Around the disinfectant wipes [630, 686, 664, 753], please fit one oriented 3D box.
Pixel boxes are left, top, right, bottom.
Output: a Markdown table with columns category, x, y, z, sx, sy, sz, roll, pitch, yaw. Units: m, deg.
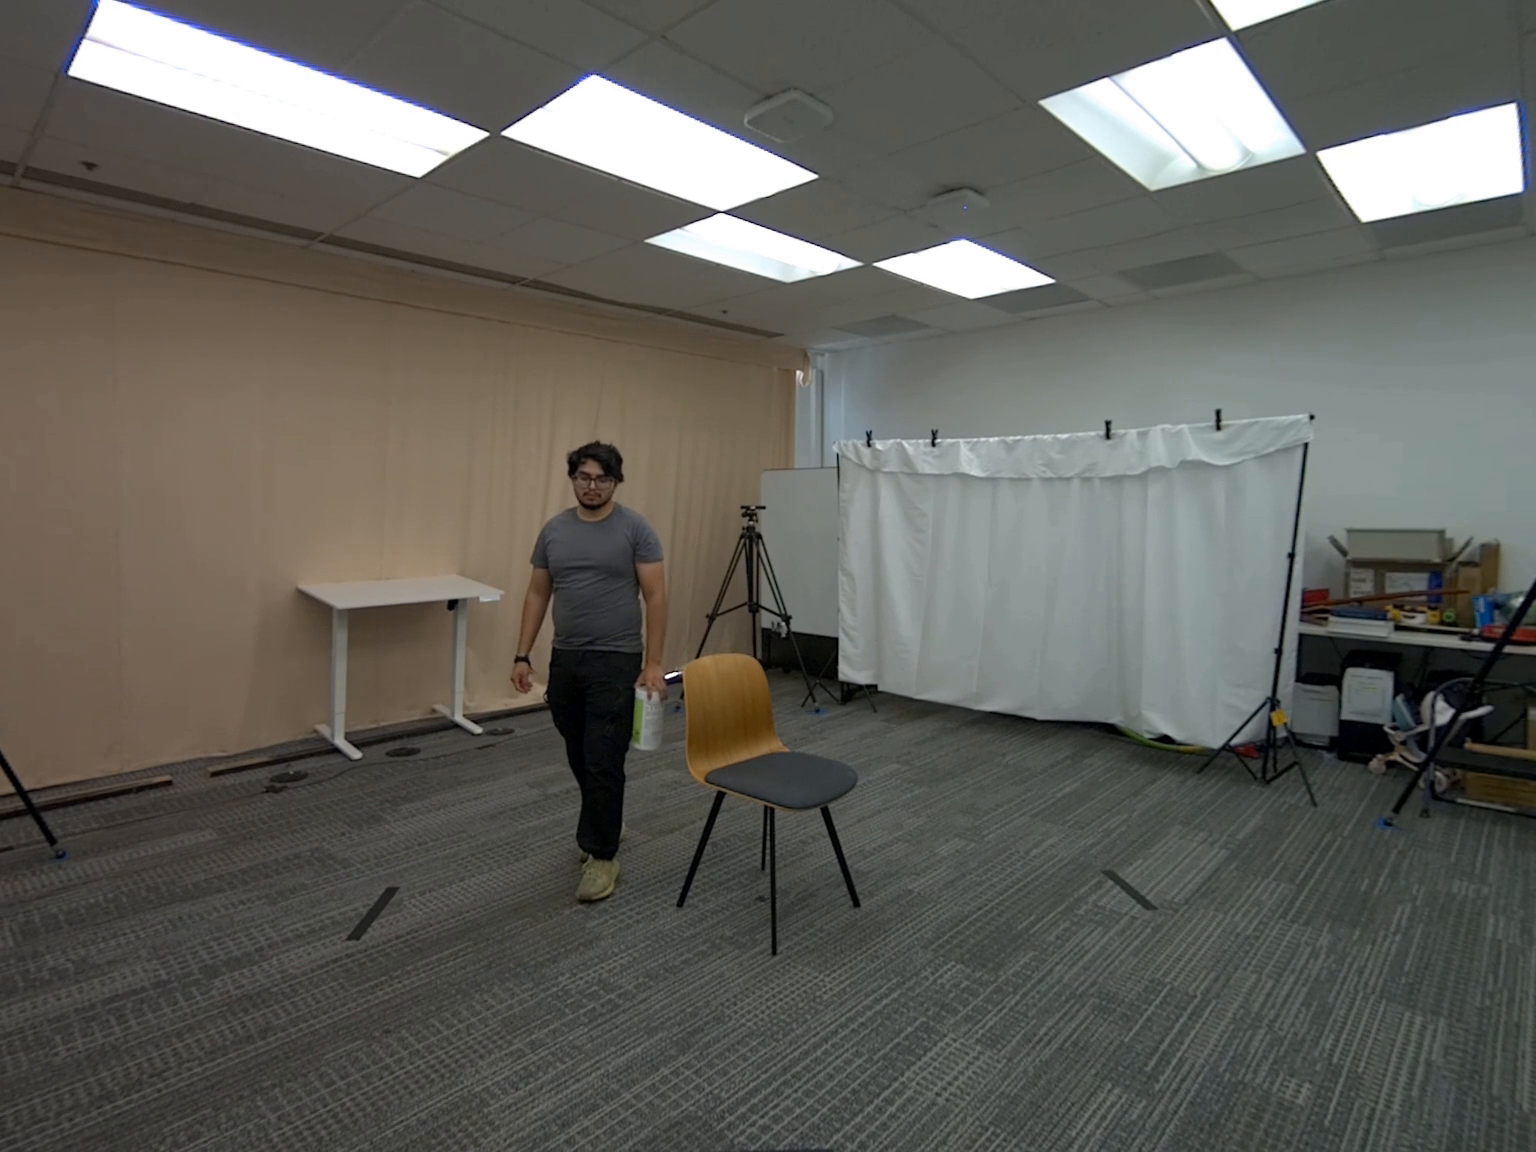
| category | x | y | z | sx | sy | sz | roll | pitch | yaw |
| --- | --- | --- | --- | --- | --- | --- | --- | --- | --- |
| disinfectant wipes | -0.430 | 0.520 | 3.067 | 0.117 | 0.217 | 0.118 | 4 | 3 | -2 |
